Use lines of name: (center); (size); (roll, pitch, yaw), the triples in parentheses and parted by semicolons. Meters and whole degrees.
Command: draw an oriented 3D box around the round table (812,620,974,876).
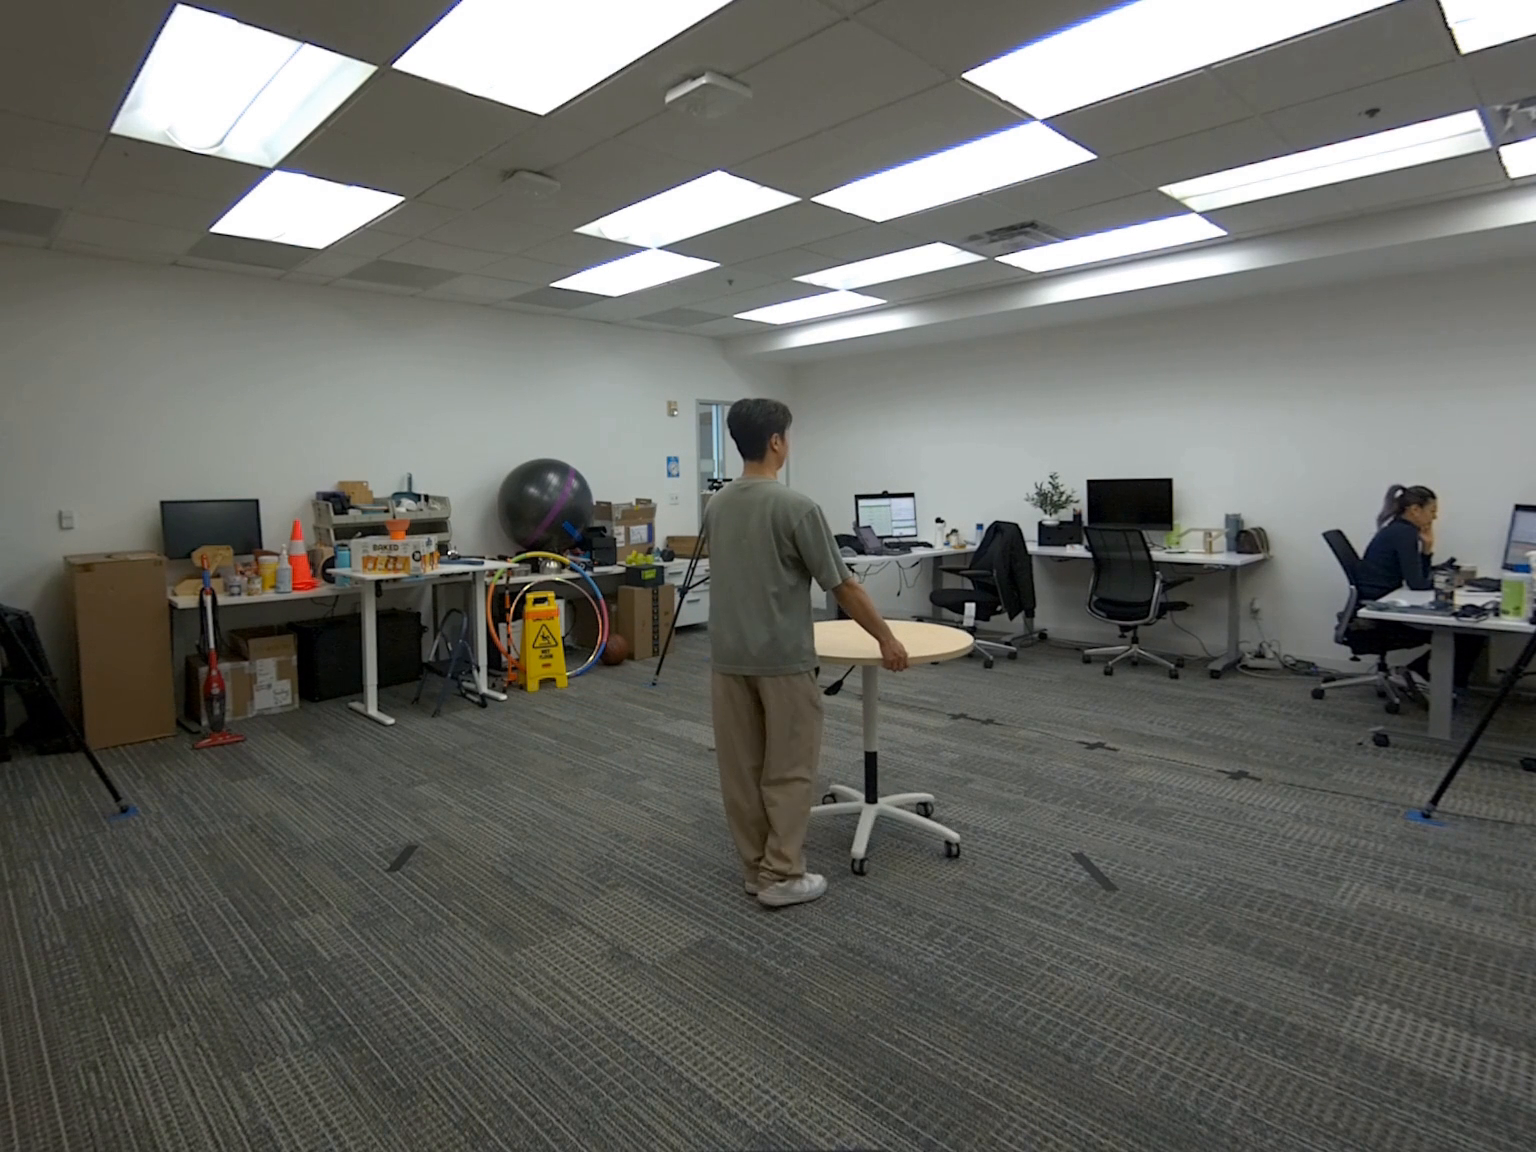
round table: (0.410, 0.620, 3.295); (0.784, 0.783, 0.789); (-1, 5, -2)
